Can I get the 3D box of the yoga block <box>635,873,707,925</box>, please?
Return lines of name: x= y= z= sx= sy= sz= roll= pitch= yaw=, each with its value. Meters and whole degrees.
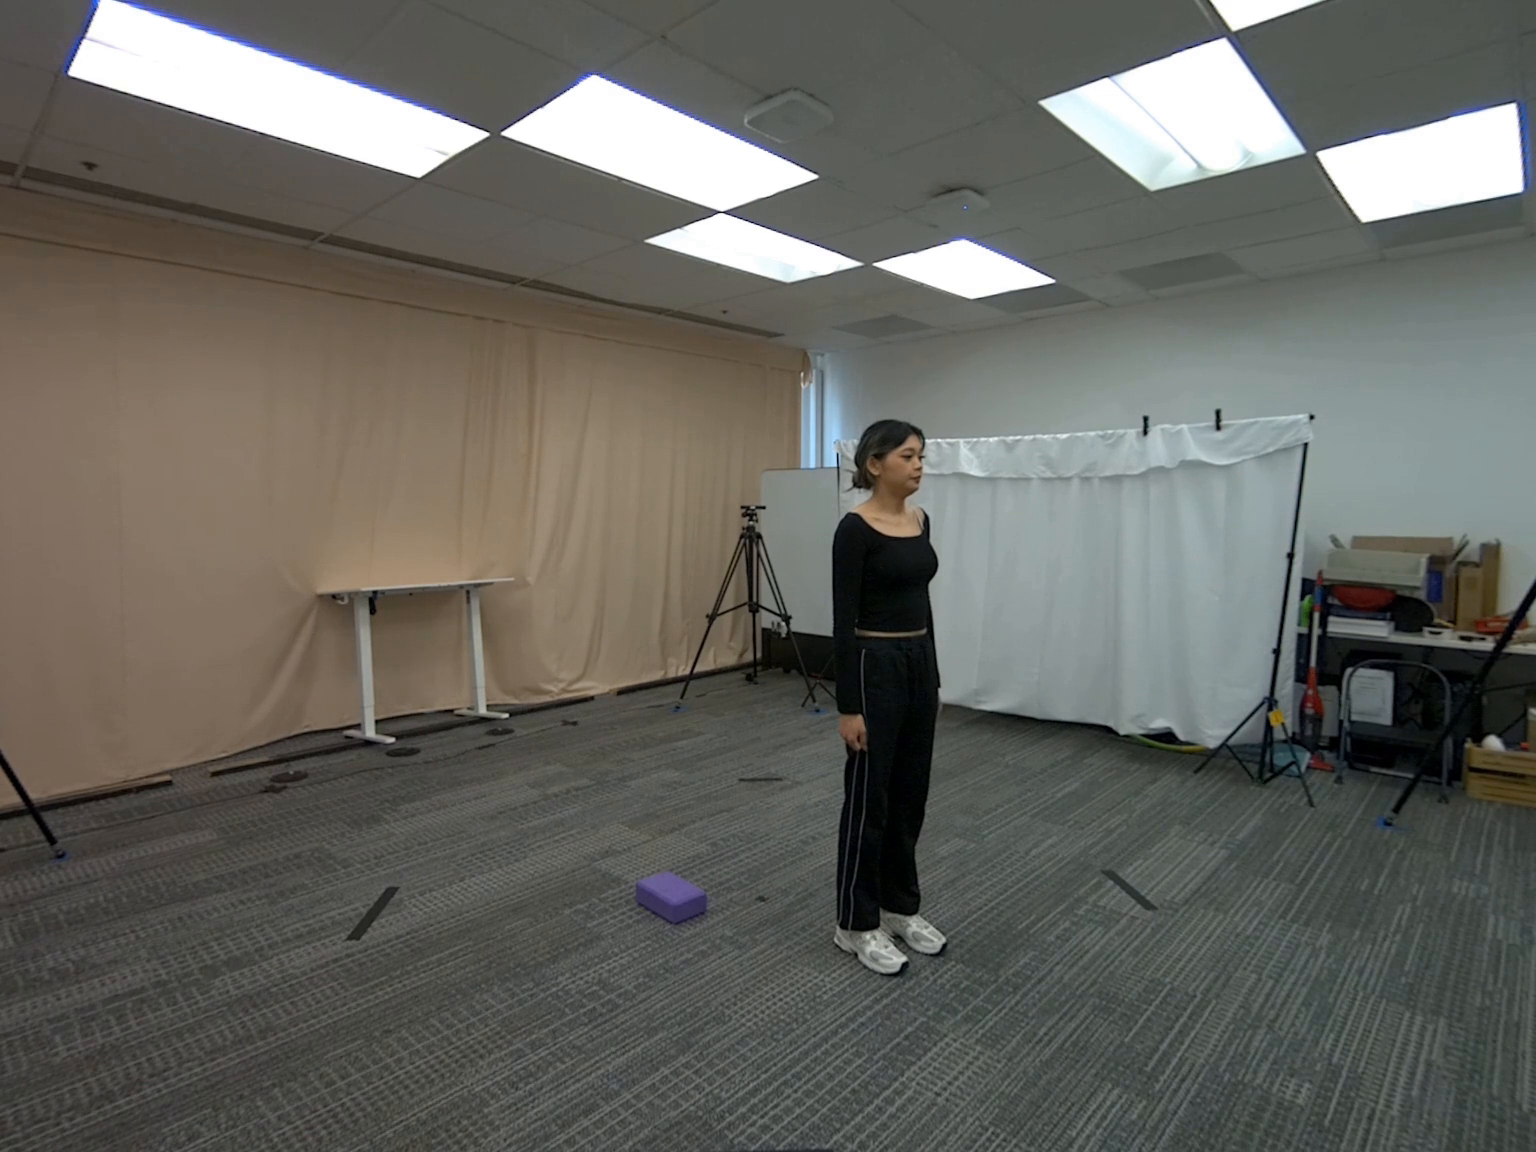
yoga block: x=-0.337 y=1.114 z=2.919 sx=0.144 sy=0.076 sz=0.237 roll=-4 pitch=6 yaw=-43
